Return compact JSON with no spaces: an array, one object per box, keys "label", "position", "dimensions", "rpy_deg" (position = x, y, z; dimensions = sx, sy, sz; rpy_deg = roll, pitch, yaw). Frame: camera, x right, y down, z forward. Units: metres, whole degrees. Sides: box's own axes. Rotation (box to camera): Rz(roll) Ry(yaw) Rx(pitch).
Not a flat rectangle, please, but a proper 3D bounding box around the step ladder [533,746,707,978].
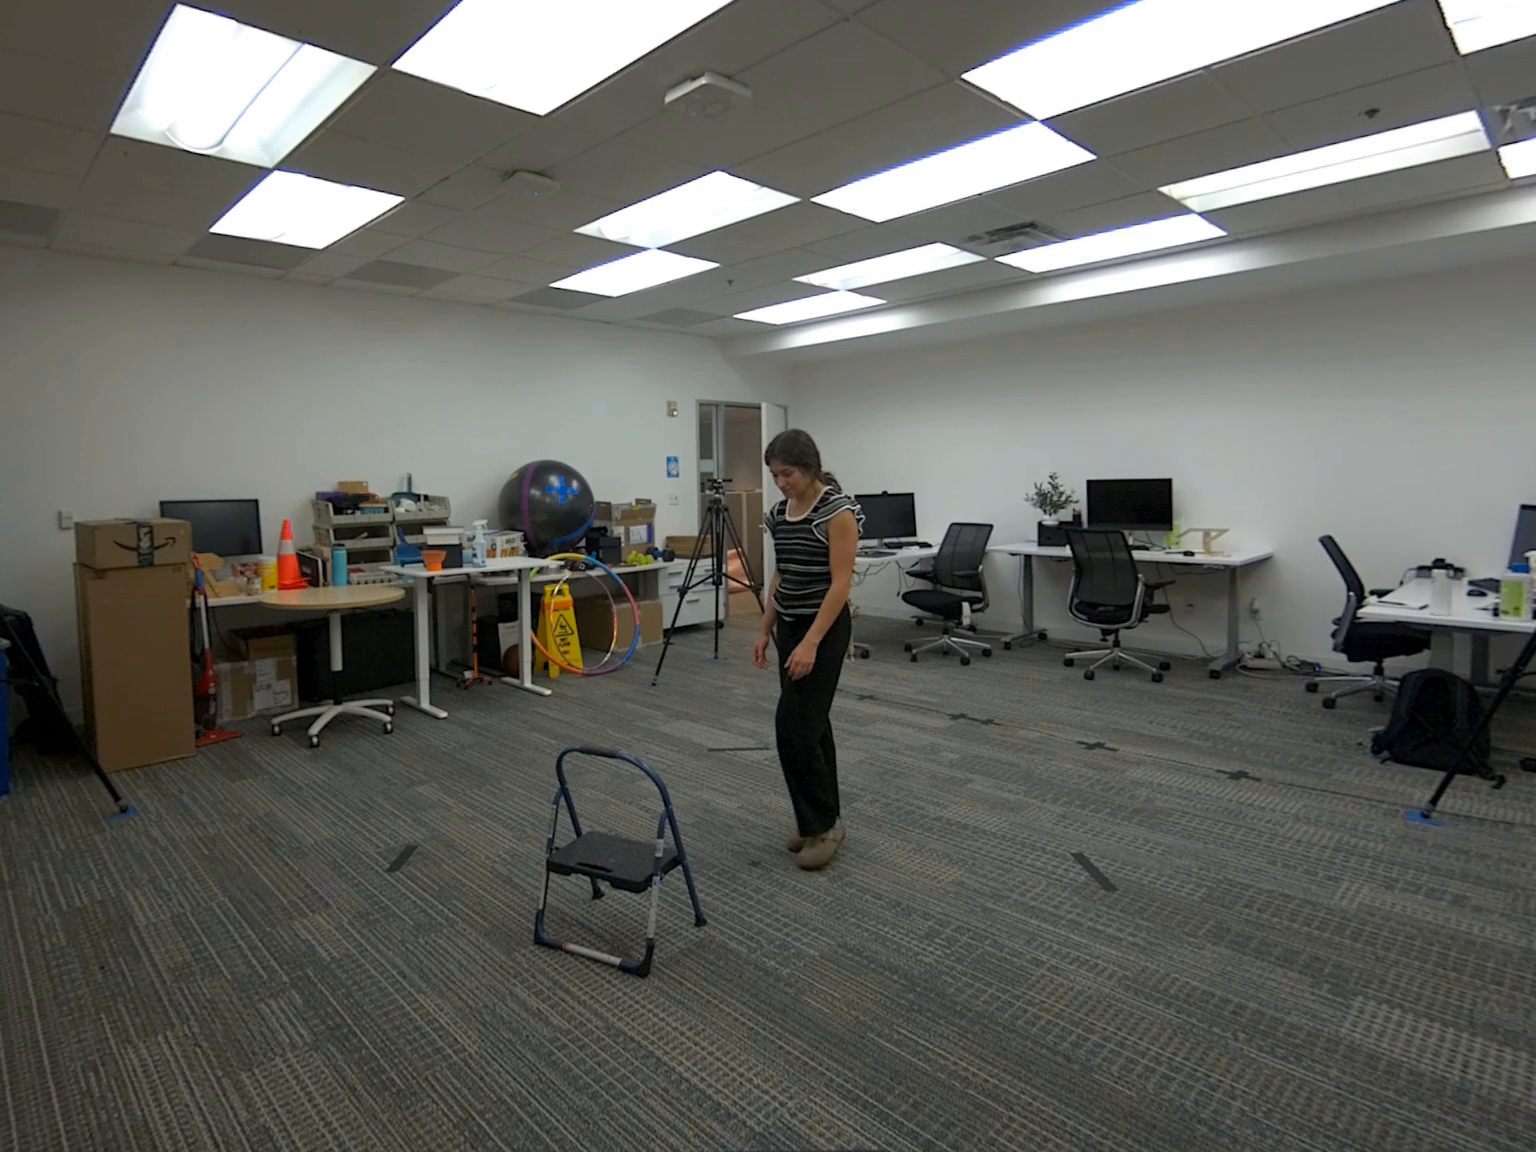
[{"label":"step ladder","position":[-0.461,0.807,2.631],"dimensions":[0.441,0.604,0.342],"rpy_deg":[1,5,26]}]
